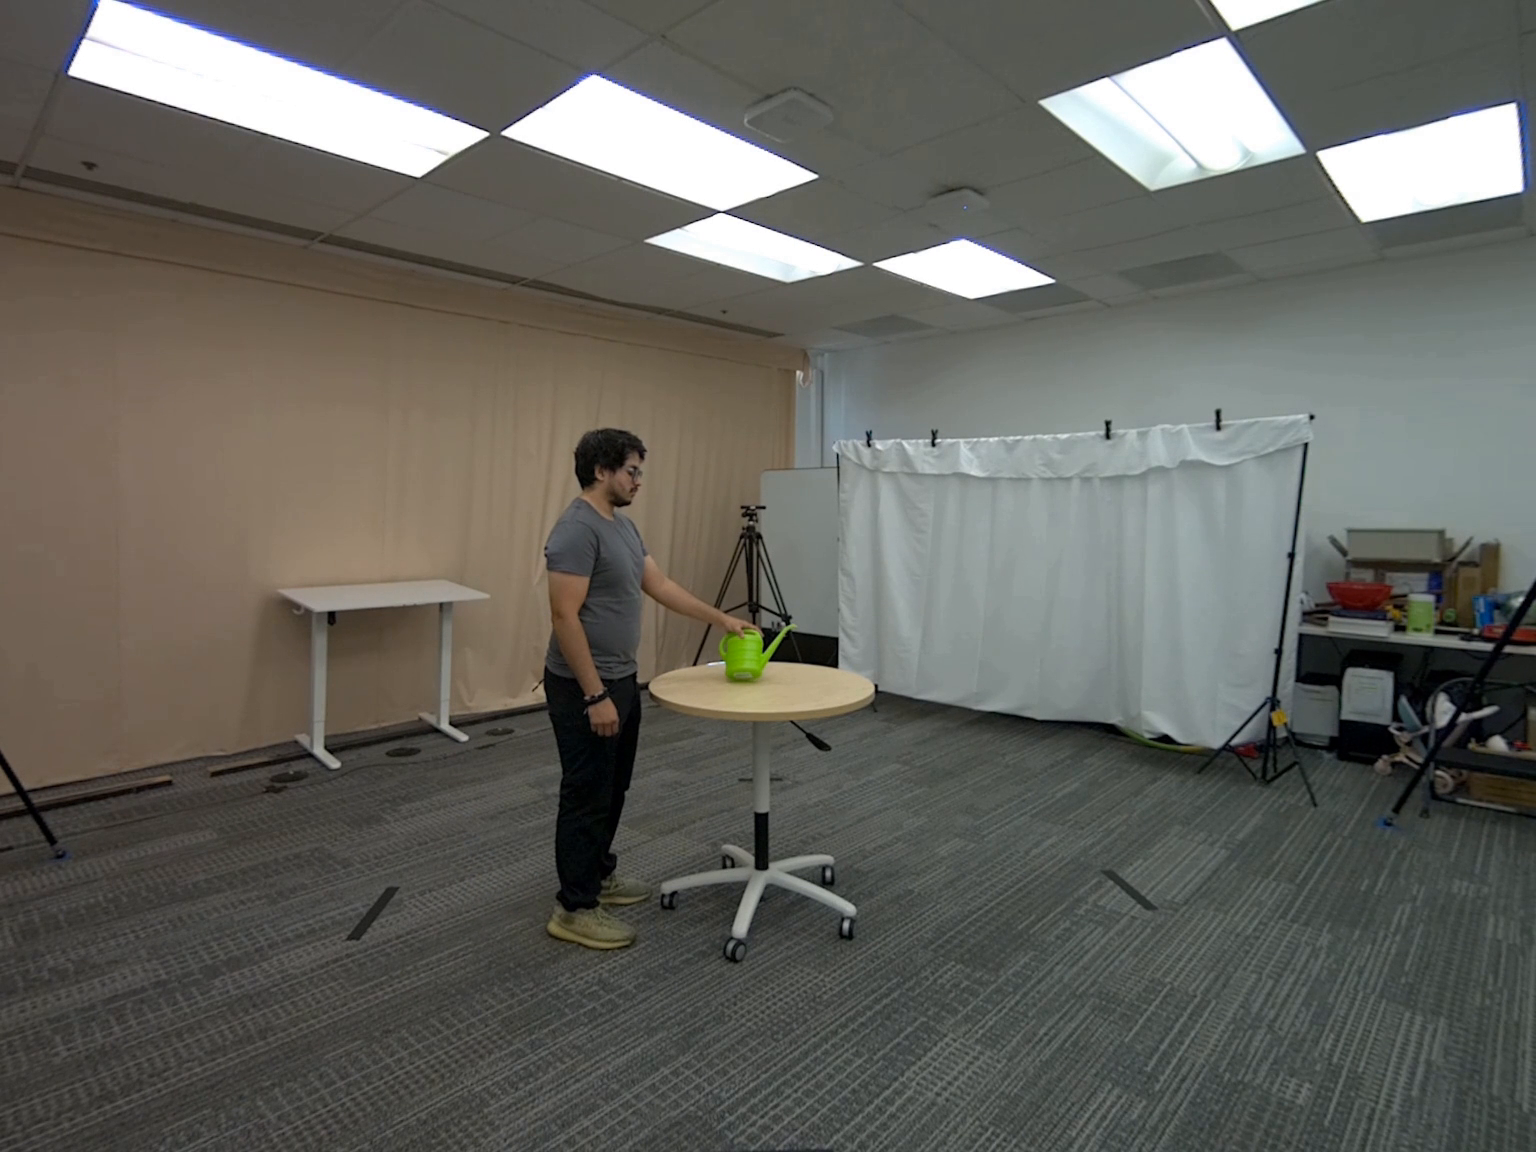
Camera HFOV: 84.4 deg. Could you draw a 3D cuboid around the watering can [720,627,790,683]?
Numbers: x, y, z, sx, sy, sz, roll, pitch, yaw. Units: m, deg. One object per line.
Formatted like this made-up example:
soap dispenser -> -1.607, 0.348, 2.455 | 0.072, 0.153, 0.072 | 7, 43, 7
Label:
watering can -> -0.035, 0.257, 2.901 | 0.285, 0.179, 0.094 | -12, -30, 32
